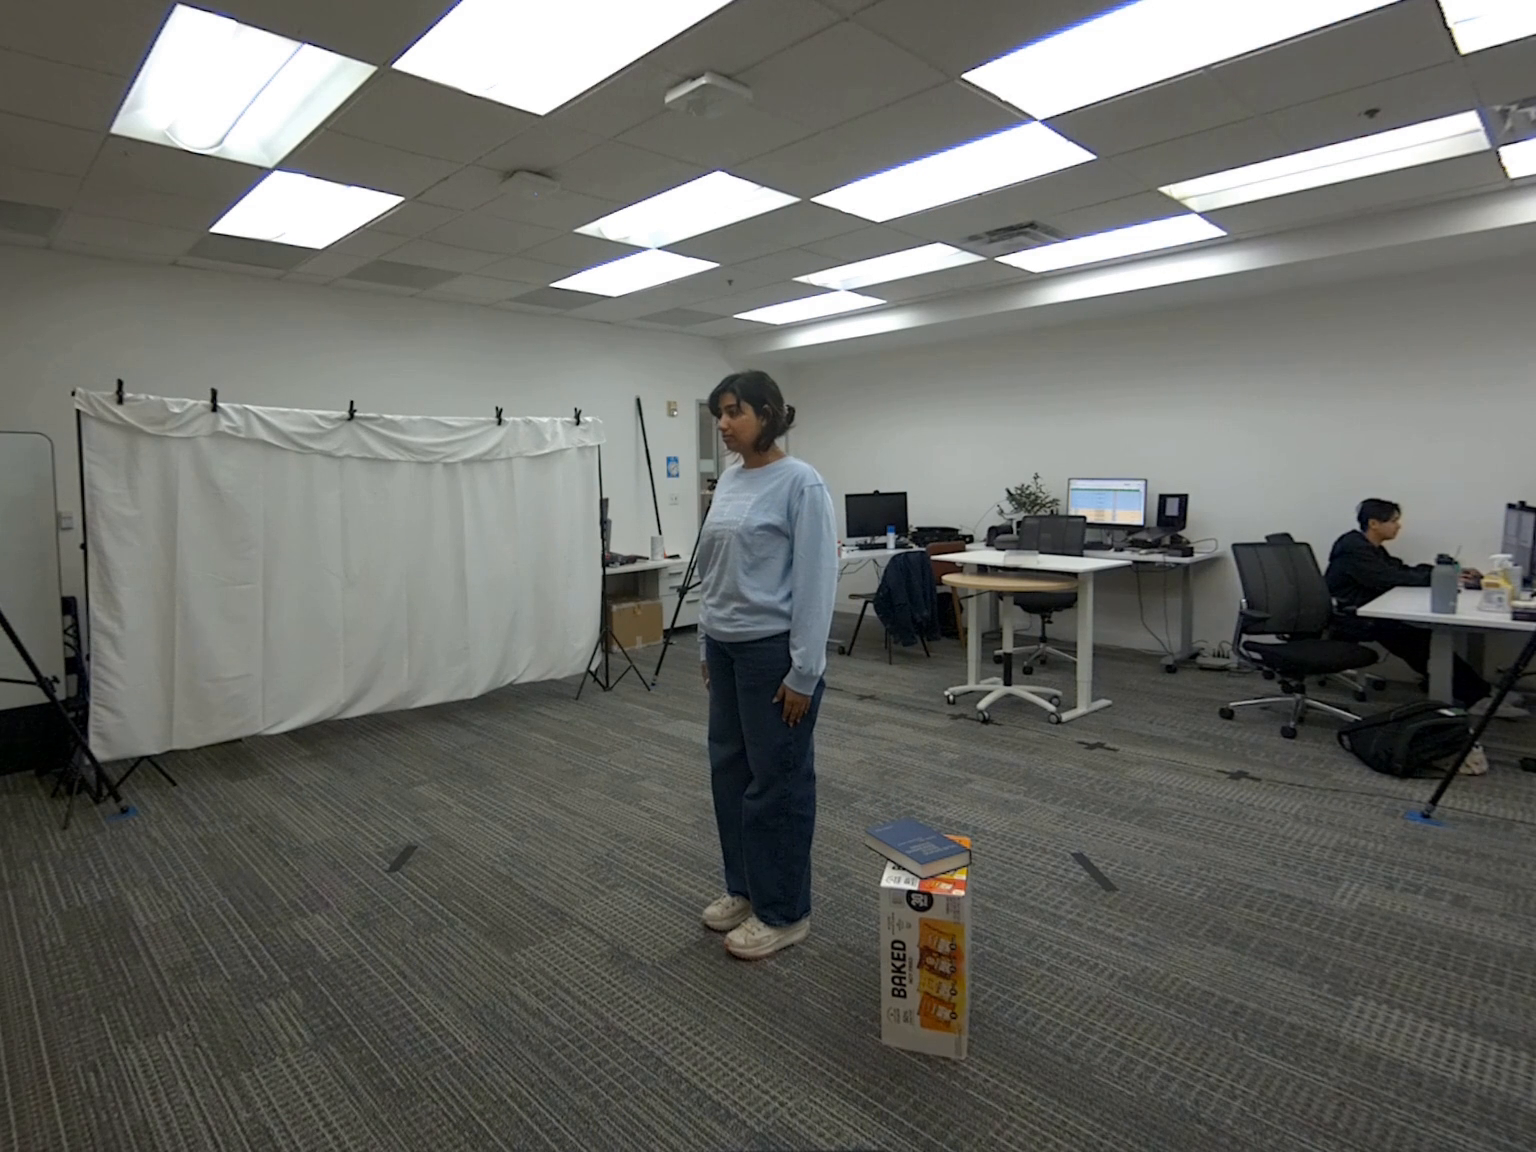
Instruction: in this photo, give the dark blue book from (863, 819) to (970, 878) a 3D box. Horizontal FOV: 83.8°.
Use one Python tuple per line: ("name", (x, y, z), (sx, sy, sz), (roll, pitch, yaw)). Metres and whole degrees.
("dark blue book", (0.399, 0.716, 2.232), (0.160, 0.045, 0.251), (-6, 7, -28))
